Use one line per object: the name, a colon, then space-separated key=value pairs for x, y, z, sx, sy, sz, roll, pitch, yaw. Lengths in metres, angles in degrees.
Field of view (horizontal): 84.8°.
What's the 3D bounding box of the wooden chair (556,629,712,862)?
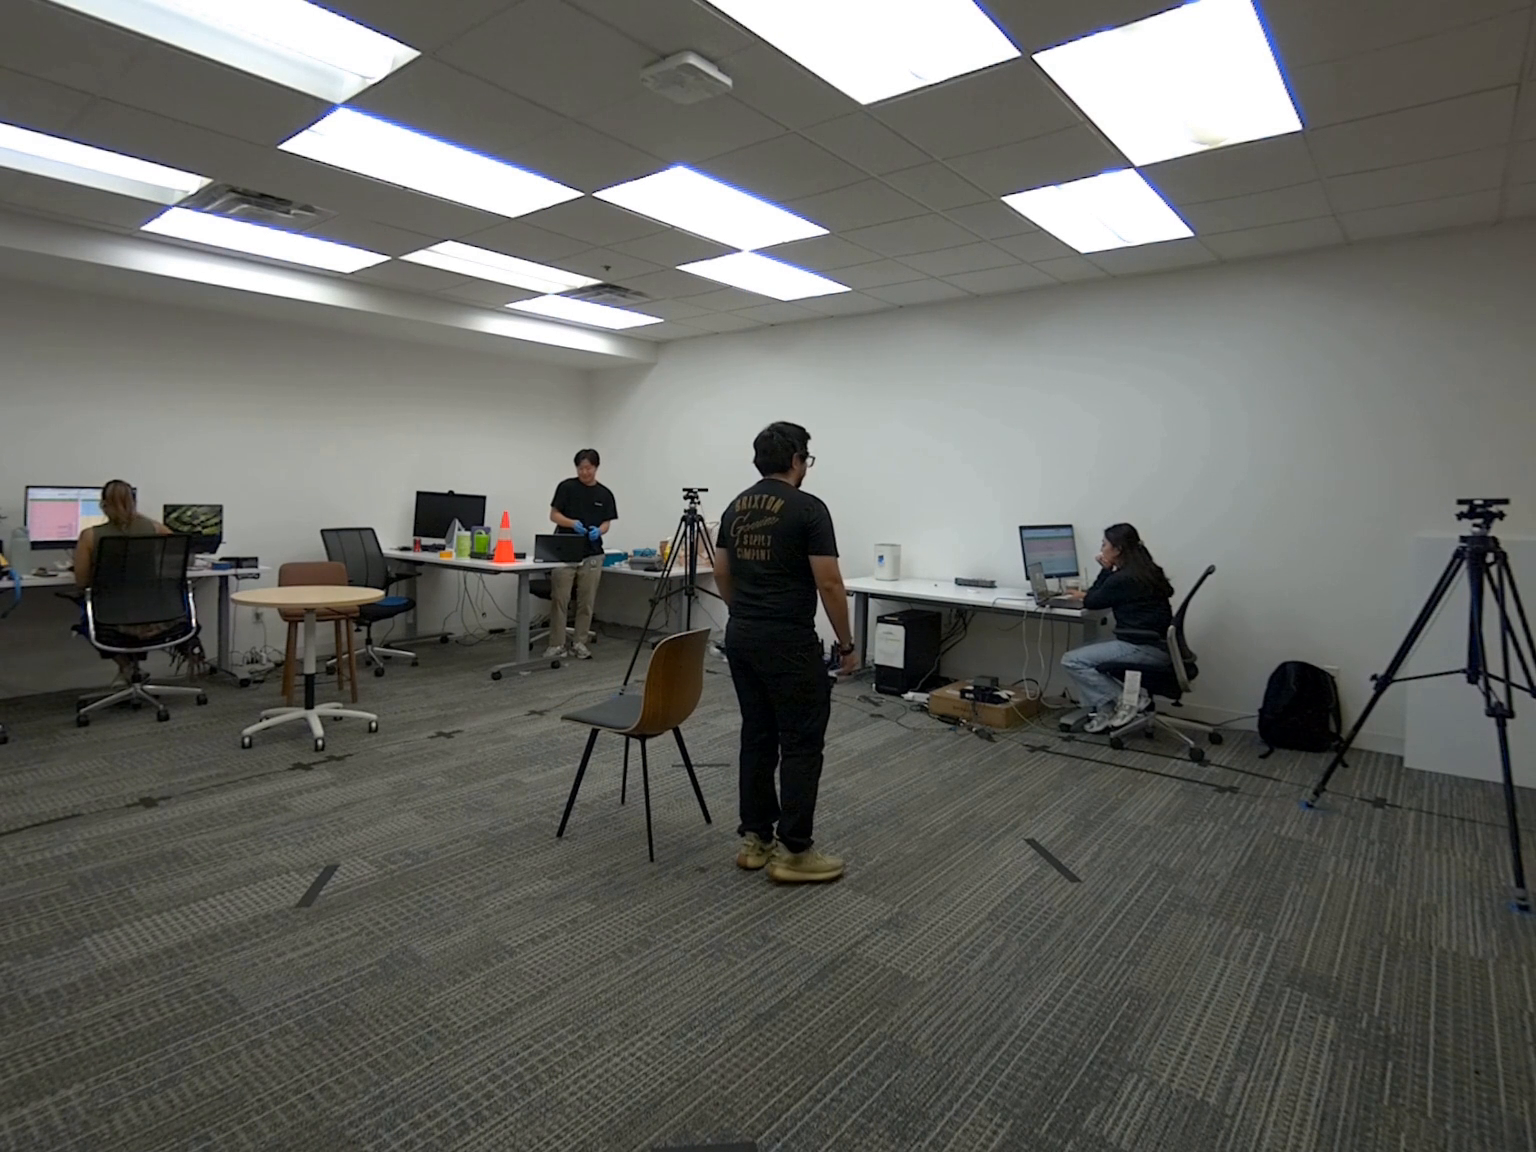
wooden chair: x=-0.547 y=0.607 z=3.432 sx=0.538 sy=0.873 sz=0.466 roll=8 pitch=6 yaw=27
